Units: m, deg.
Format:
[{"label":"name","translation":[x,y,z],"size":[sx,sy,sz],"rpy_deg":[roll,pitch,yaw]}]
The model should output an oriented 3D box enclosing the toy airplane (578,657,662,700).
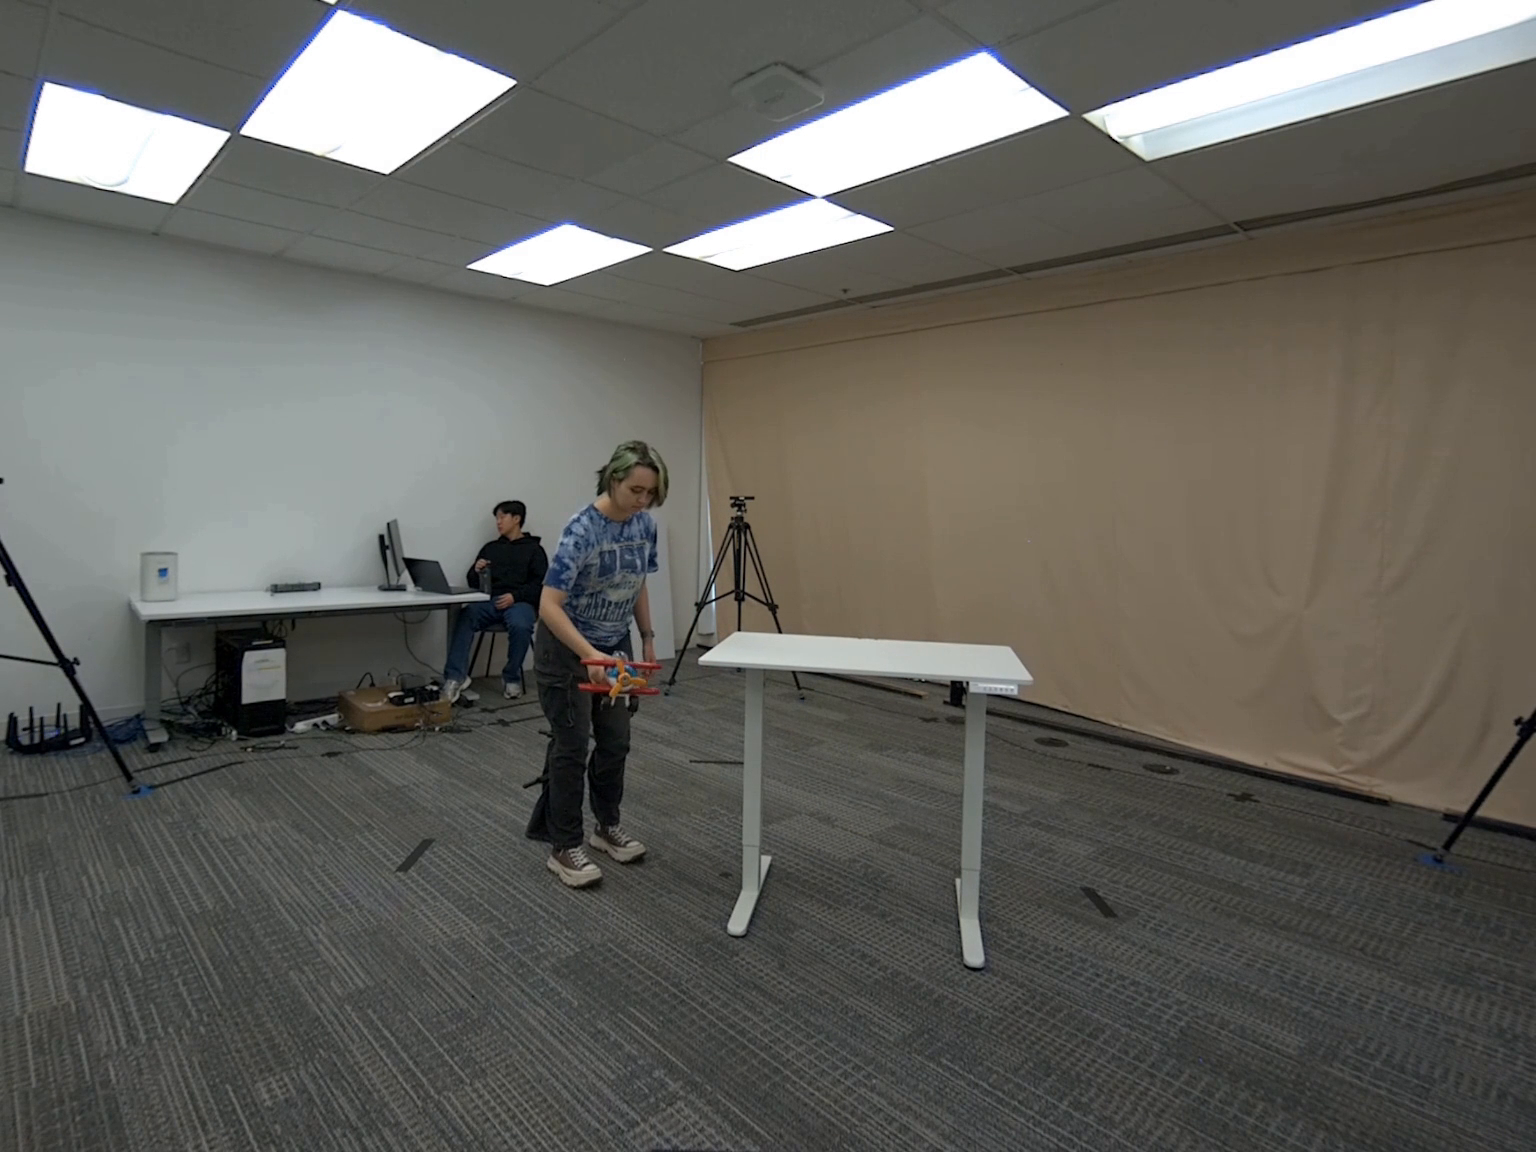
[{"label":"toy airplane","translation":[-0.502,0.328,2.671],"size":[0.267,0.155,0.245],"rpy_deg":[17,13,43]}]
